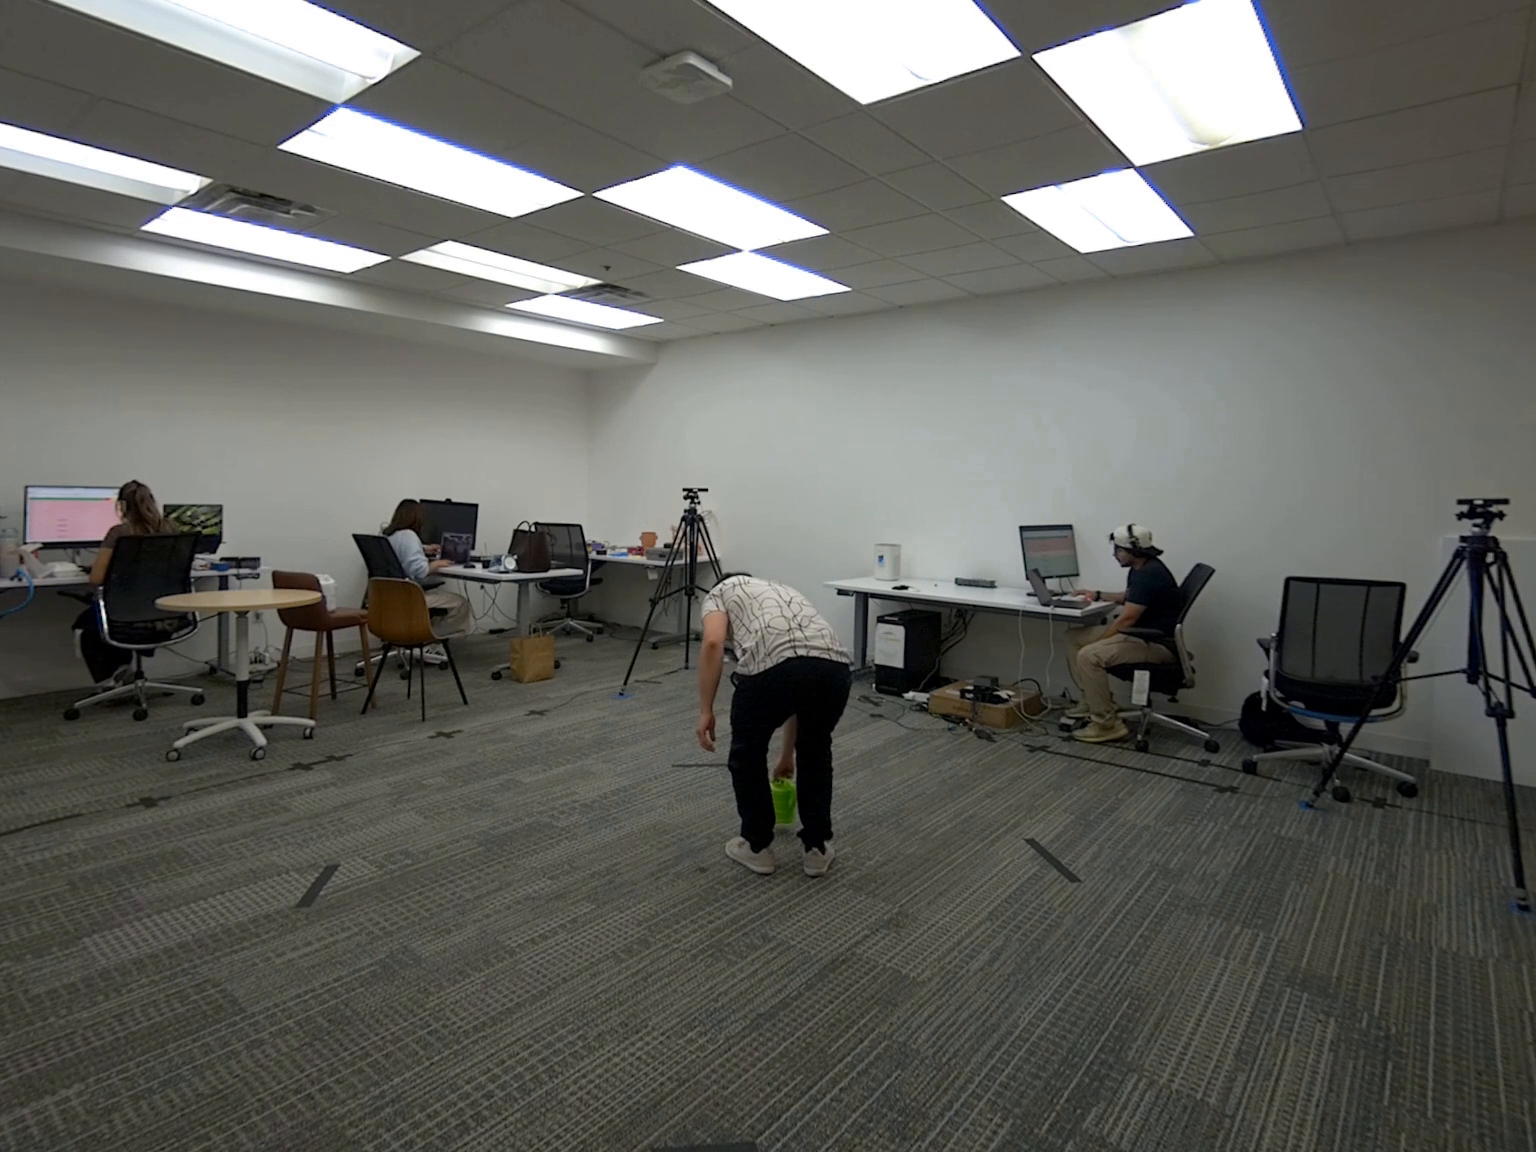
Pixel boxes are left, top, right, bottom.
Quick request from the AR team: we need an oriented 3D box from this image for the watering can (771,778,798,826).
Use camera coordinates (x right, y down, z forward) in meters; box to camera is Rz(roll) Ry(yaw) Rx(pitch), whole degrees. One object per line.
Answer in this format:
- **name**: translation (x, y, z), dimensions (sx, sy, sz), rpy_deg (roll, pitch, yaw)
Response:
- **watering can**: translation (0.029, 0.886, 3.493), dimensions (0.096, 0.177, 0.283), rpy_deg (-2, 2, -18)
